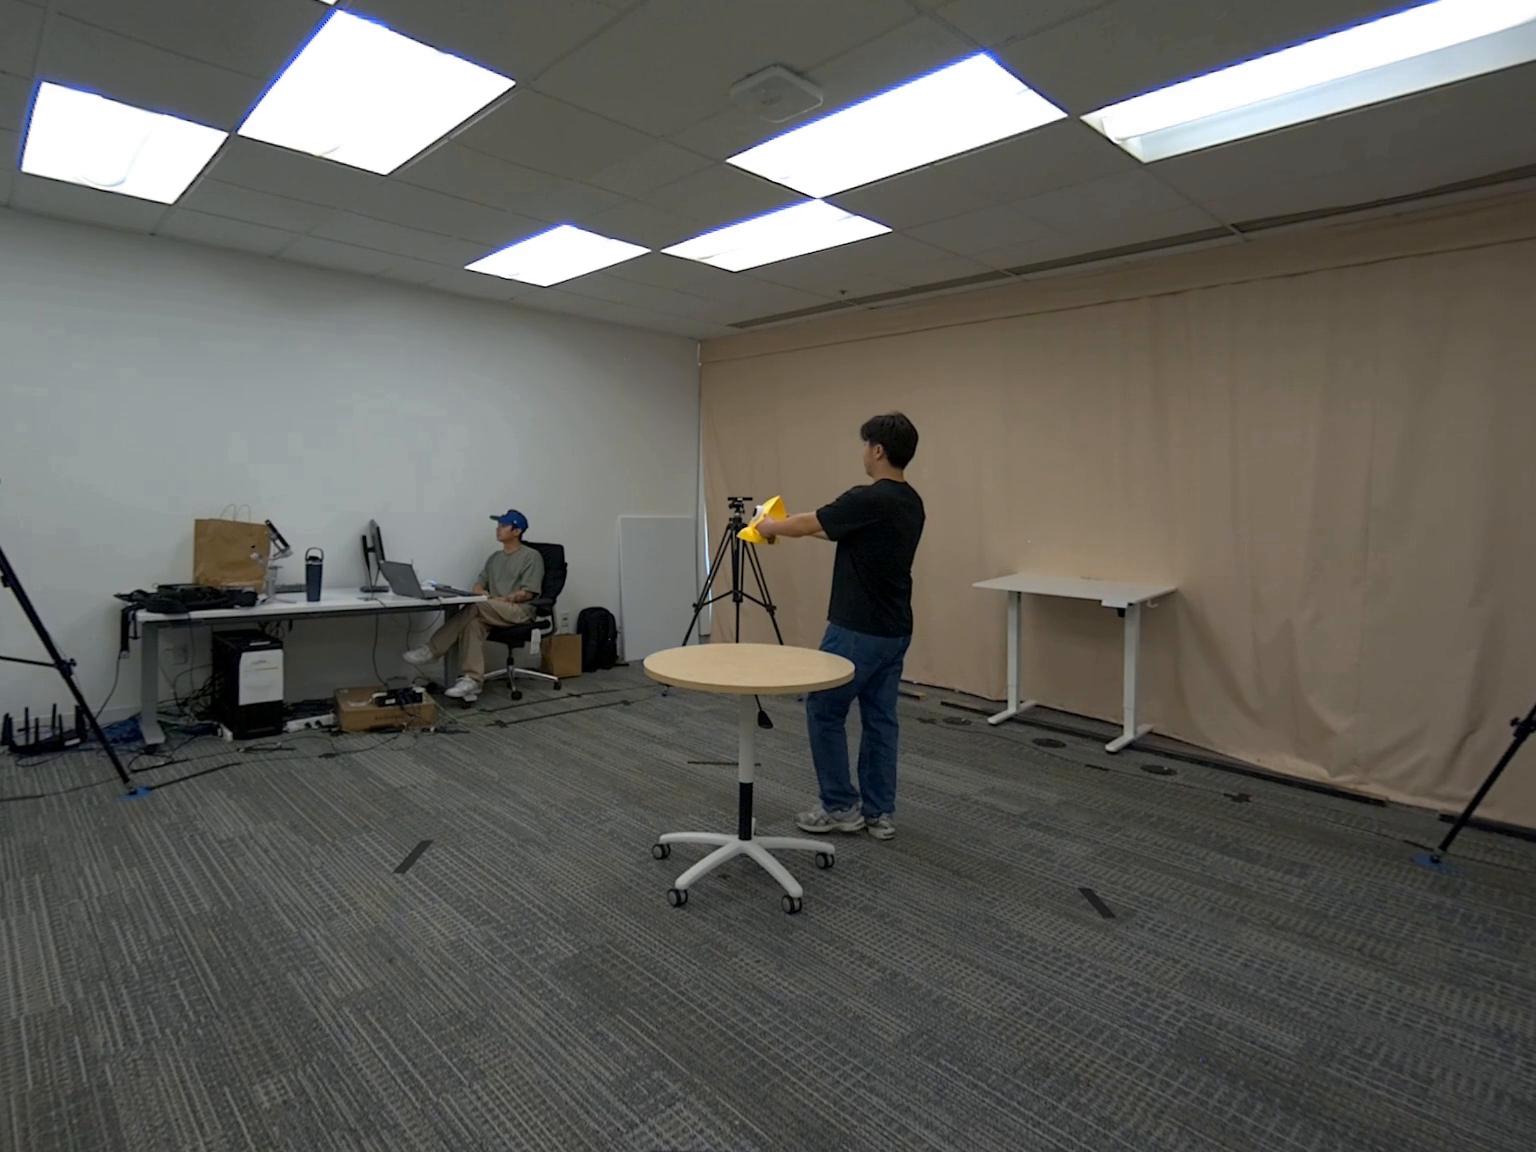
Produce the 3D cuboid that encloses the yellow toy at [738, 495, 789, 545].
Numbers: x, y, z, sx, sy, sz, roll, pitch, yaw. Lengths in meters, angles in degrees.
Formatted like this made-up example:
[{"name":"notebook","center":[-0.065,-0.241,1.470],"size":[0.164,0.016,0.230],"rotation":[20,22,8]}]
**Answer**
[{"name":"yellow toy","center":[-0.025,-0.273,3.935],"size":[0.199,0.229,0.200],"rotation":[19,11,40]}]
